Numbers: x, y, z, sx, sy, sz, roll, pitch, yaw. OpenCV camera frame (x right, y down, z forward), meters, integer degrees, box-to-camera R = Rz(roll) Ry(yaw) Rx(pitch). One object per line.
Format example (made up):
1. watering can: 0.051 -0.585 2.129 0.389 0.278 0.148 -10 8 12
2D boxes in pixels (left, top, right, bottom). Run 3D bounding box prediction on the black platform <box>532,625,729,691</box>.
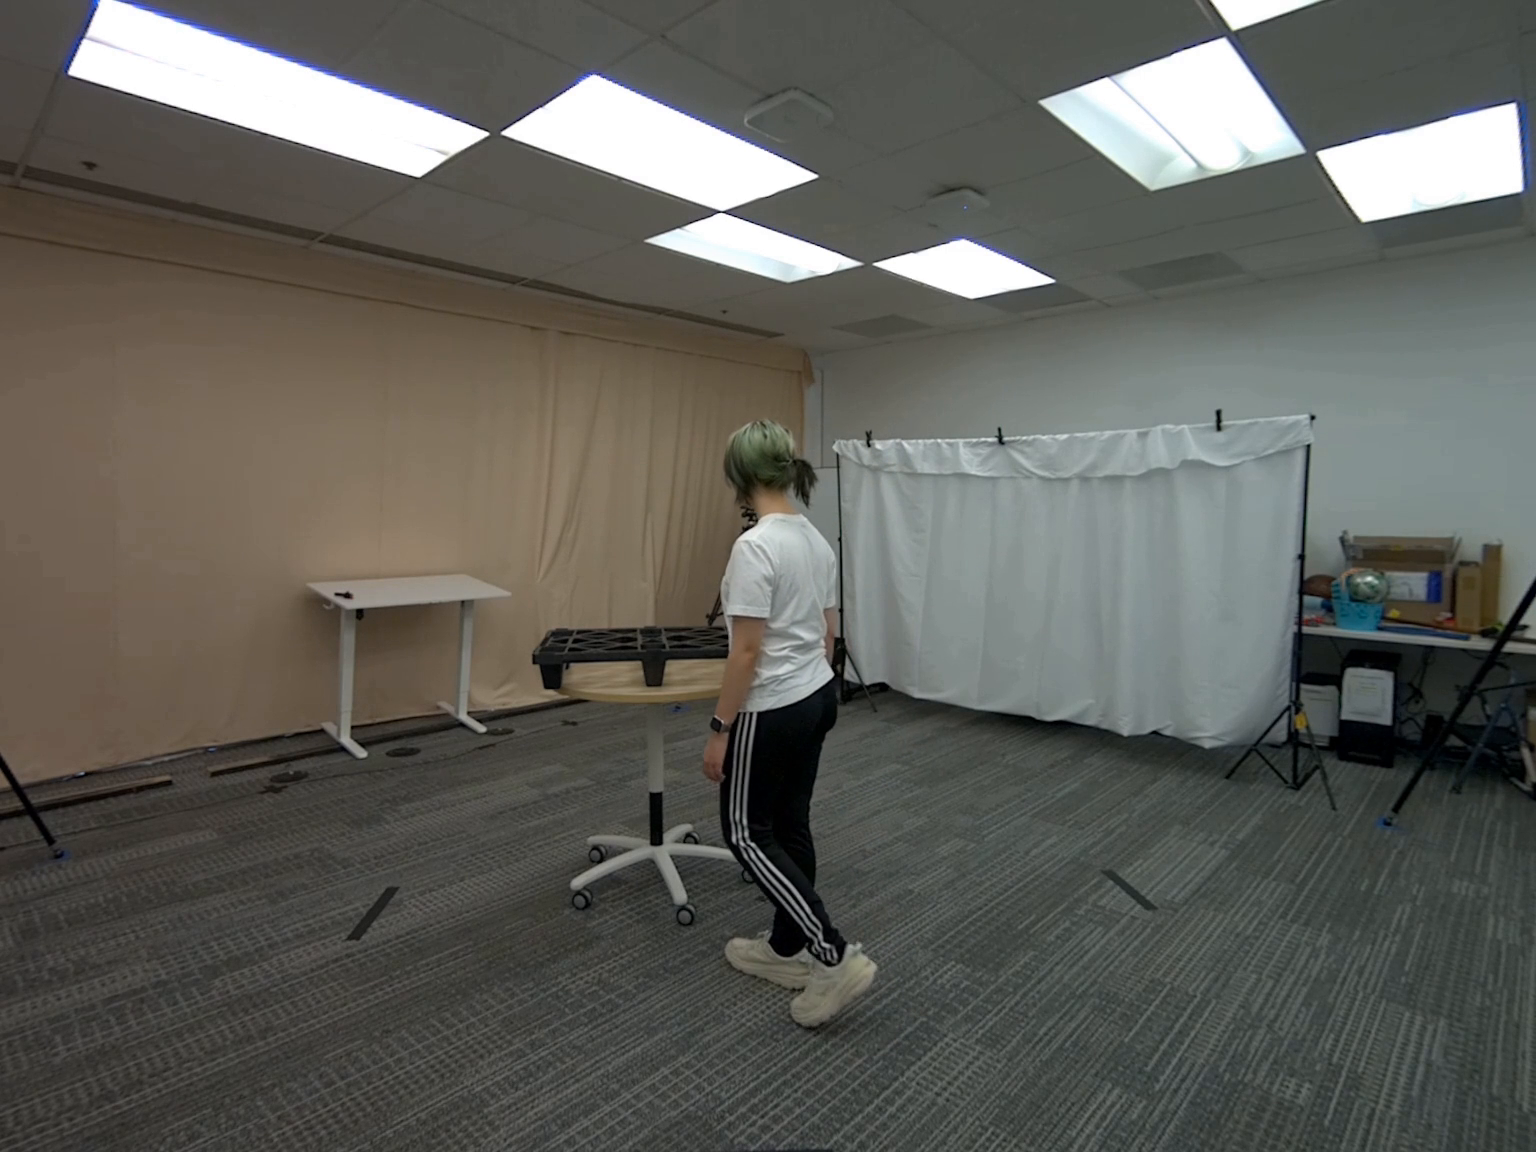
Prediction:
1. black platform: -0.426 0.291 3.070 0.800 0.143 0.610 -1 3 -7
